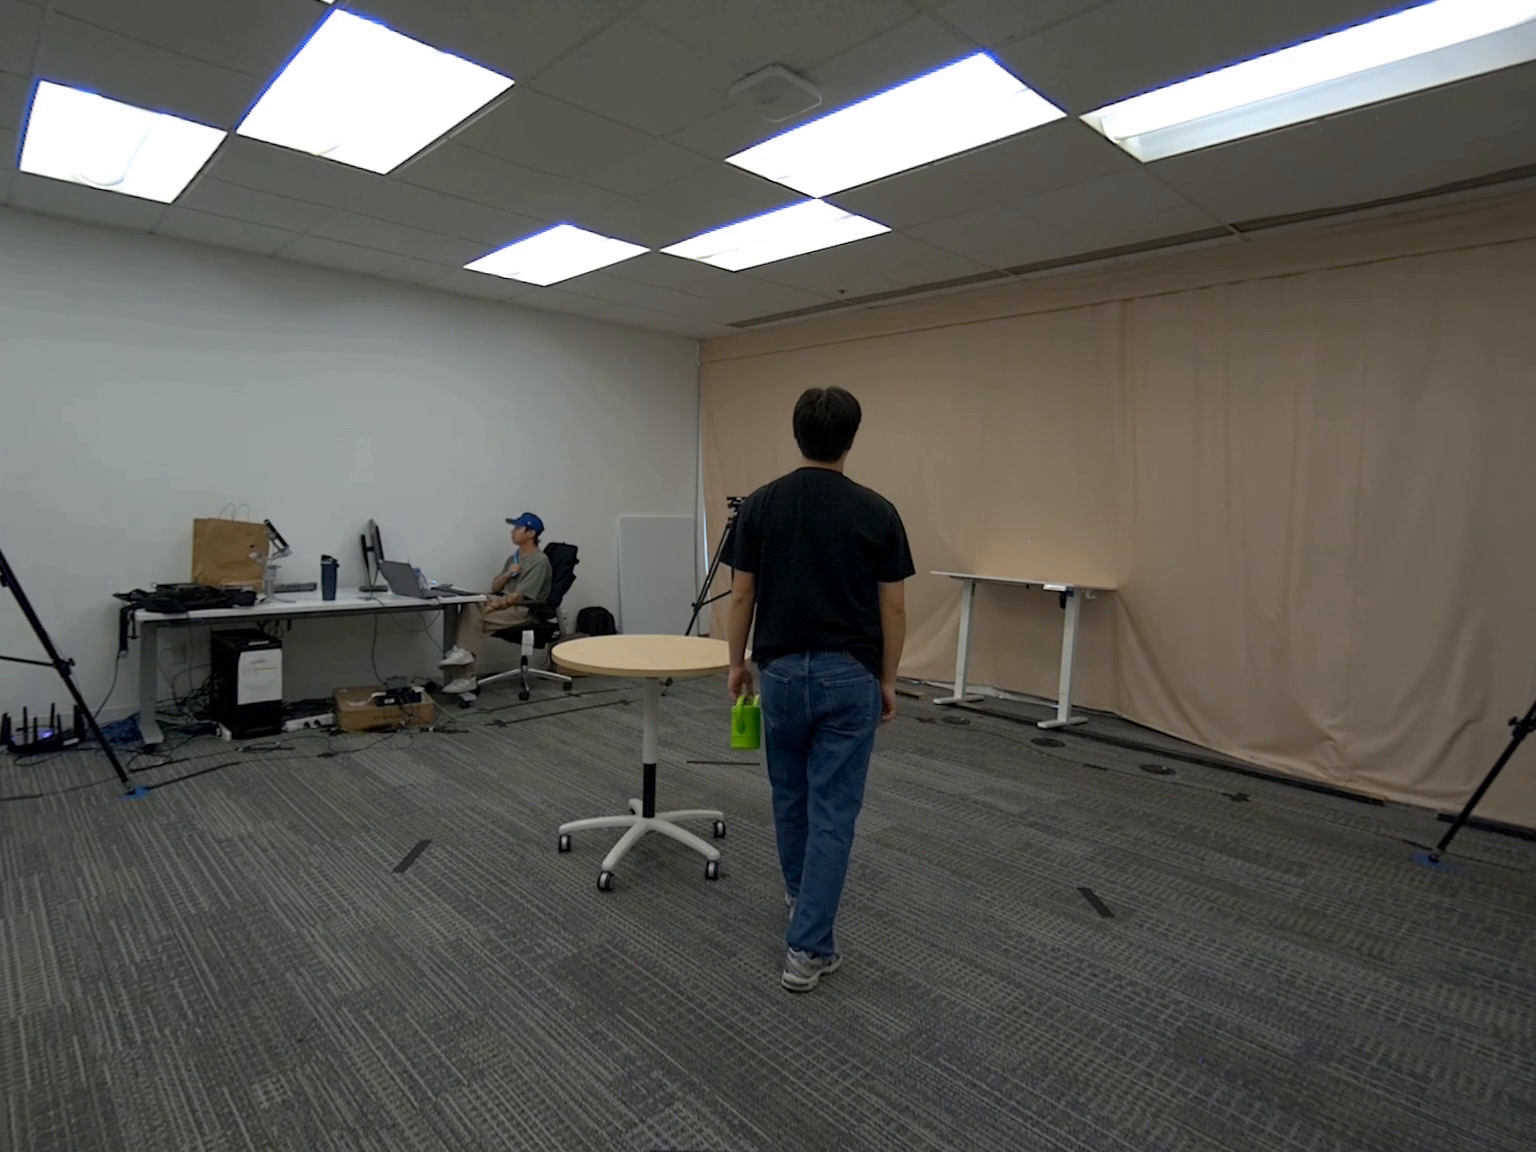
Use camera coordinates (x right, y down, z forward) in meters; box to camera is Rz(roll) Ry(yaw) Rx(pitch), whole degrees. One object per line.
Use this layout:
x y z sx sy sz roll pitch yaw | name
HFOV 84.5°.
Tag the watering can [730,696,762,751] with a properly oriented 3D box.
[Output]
-0.052 0.478 2.773 0.099 0.178 0.272 -3 -9 24 | watering can
